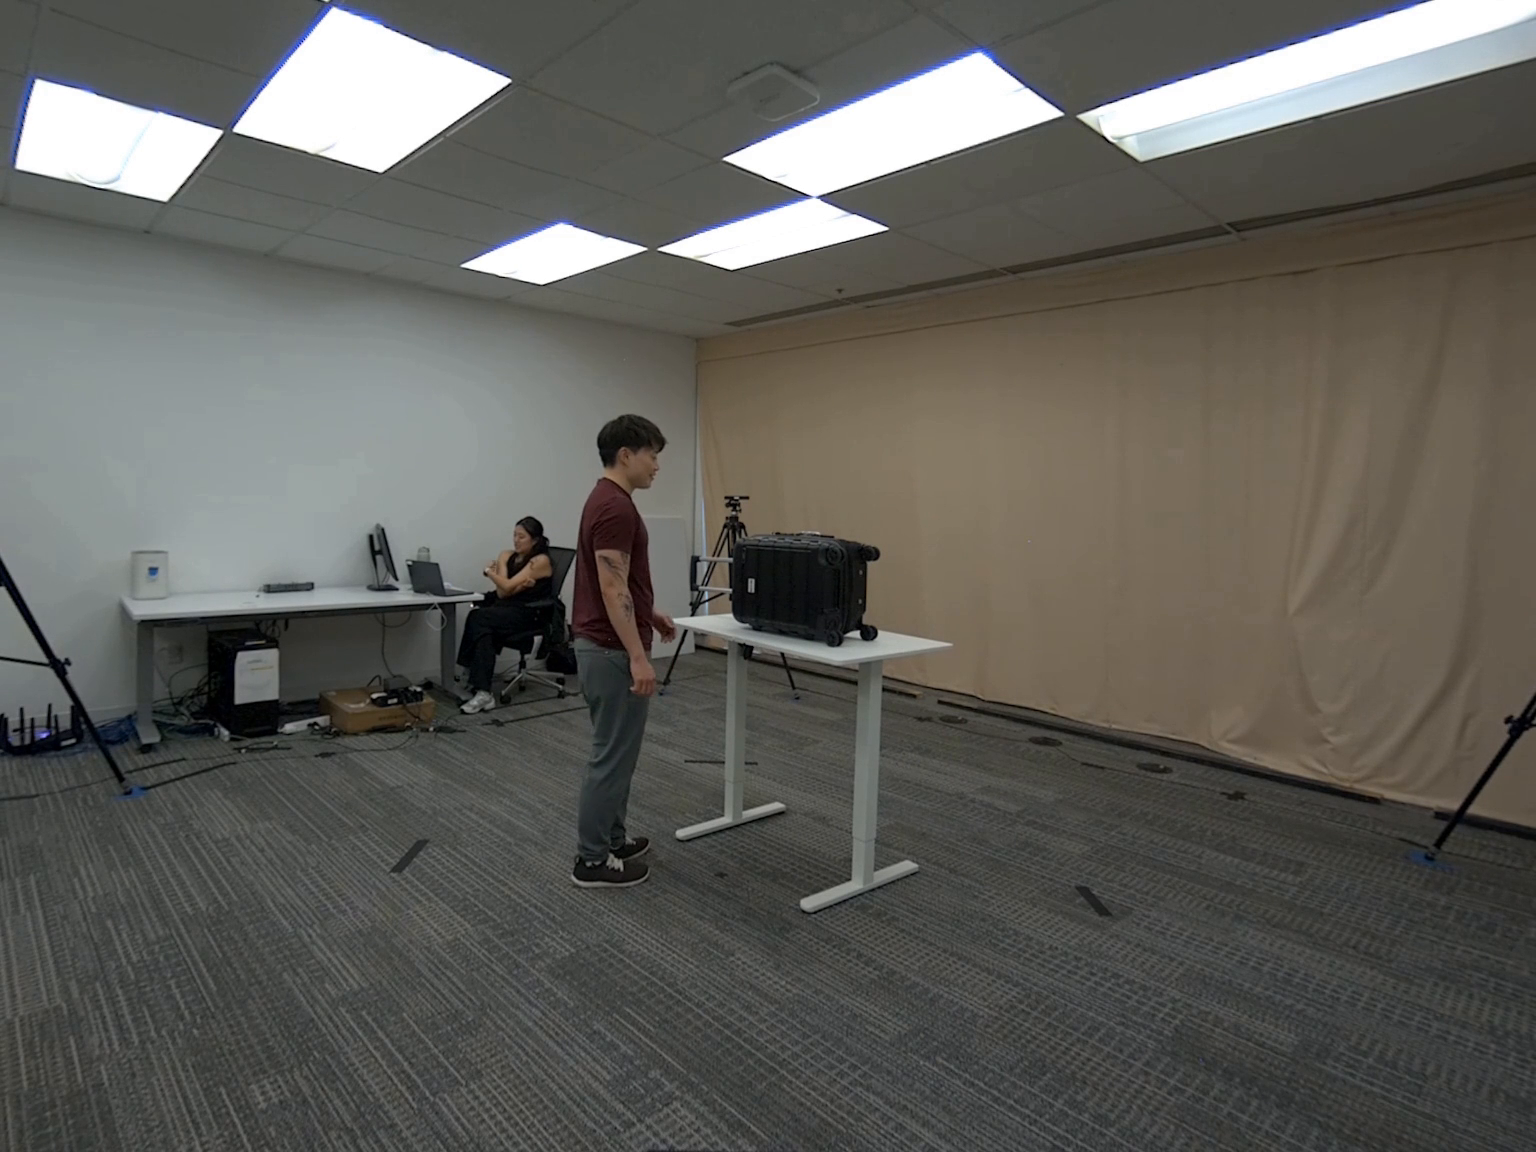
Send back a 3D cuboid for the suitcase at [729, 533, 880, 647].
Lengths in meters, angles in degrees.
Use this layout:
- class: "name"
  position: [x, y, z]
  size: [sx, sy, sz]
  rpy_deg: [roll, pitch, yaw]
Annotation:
- class: "suitcase"
  position: [-0.039, 0.019, 3.325]
  size: [1.004, 0.383, 0.251]
  rpy_deg: [6, 6, 42]
